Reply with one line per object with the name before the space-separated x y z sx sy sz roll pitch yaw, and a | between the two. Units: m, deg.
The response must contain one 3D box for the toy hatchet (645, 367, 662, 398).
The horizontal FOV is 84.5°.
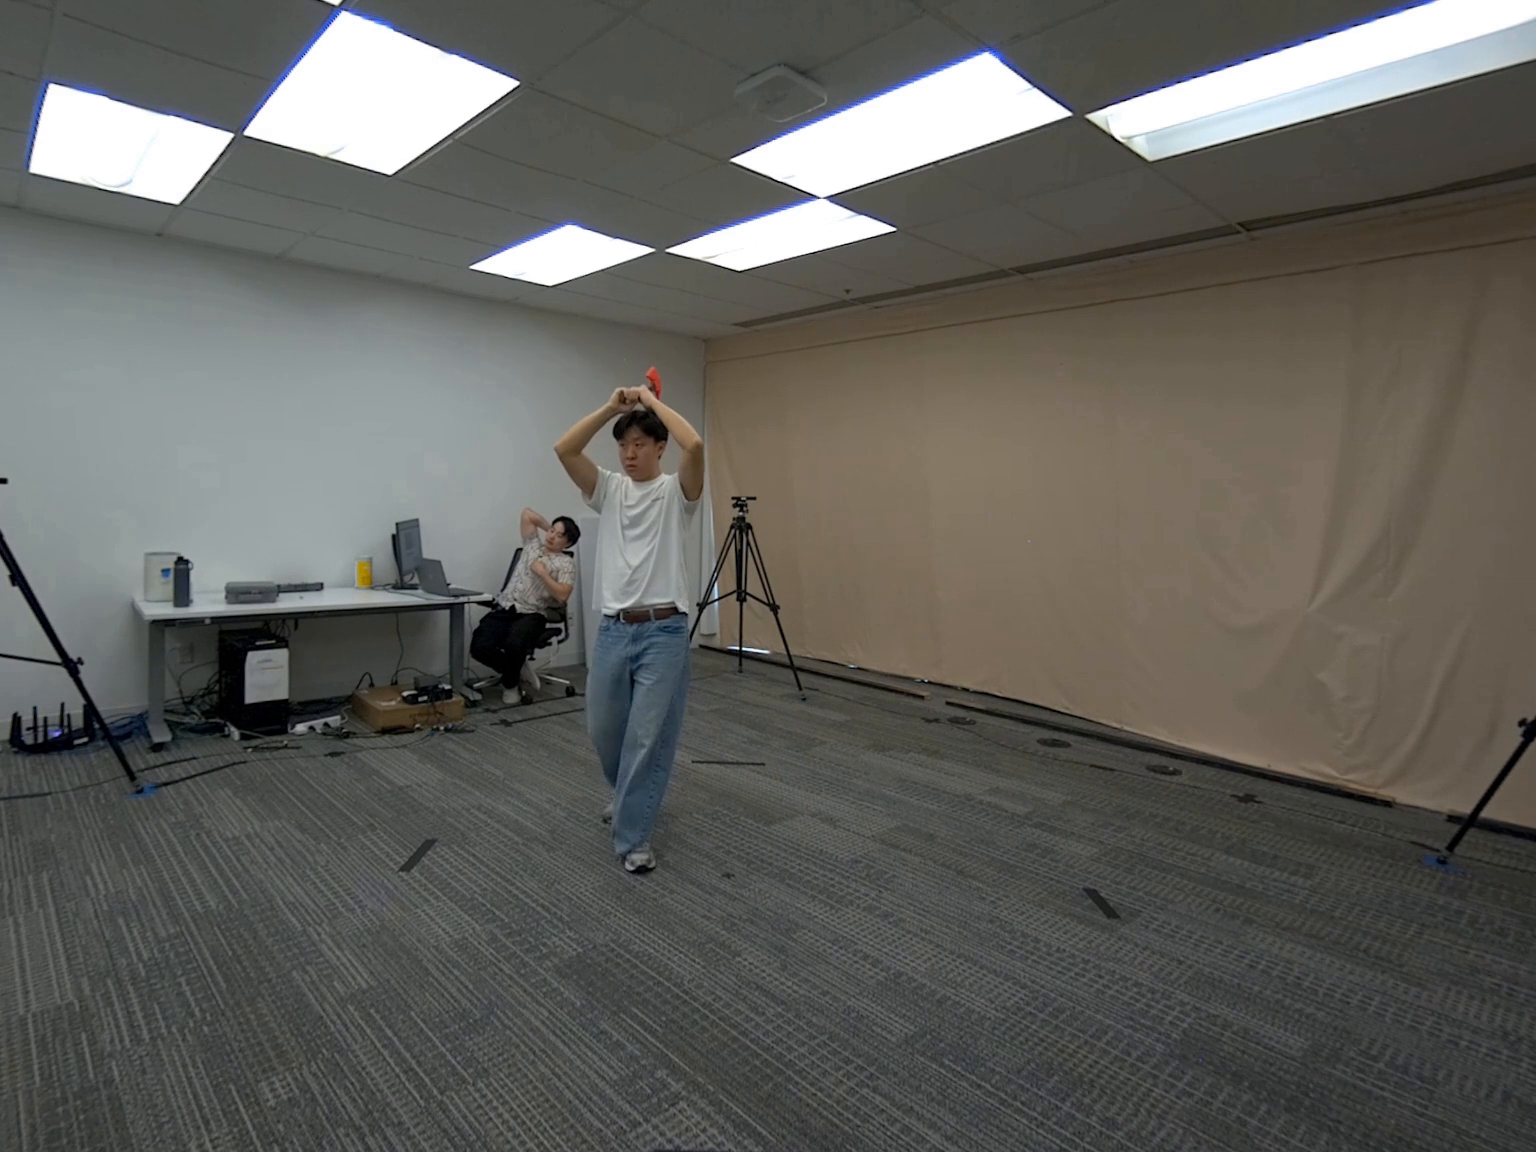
toy hatchet | -0.500 -0.742 3.243 0.030 0.130 0.267 10 16 24
